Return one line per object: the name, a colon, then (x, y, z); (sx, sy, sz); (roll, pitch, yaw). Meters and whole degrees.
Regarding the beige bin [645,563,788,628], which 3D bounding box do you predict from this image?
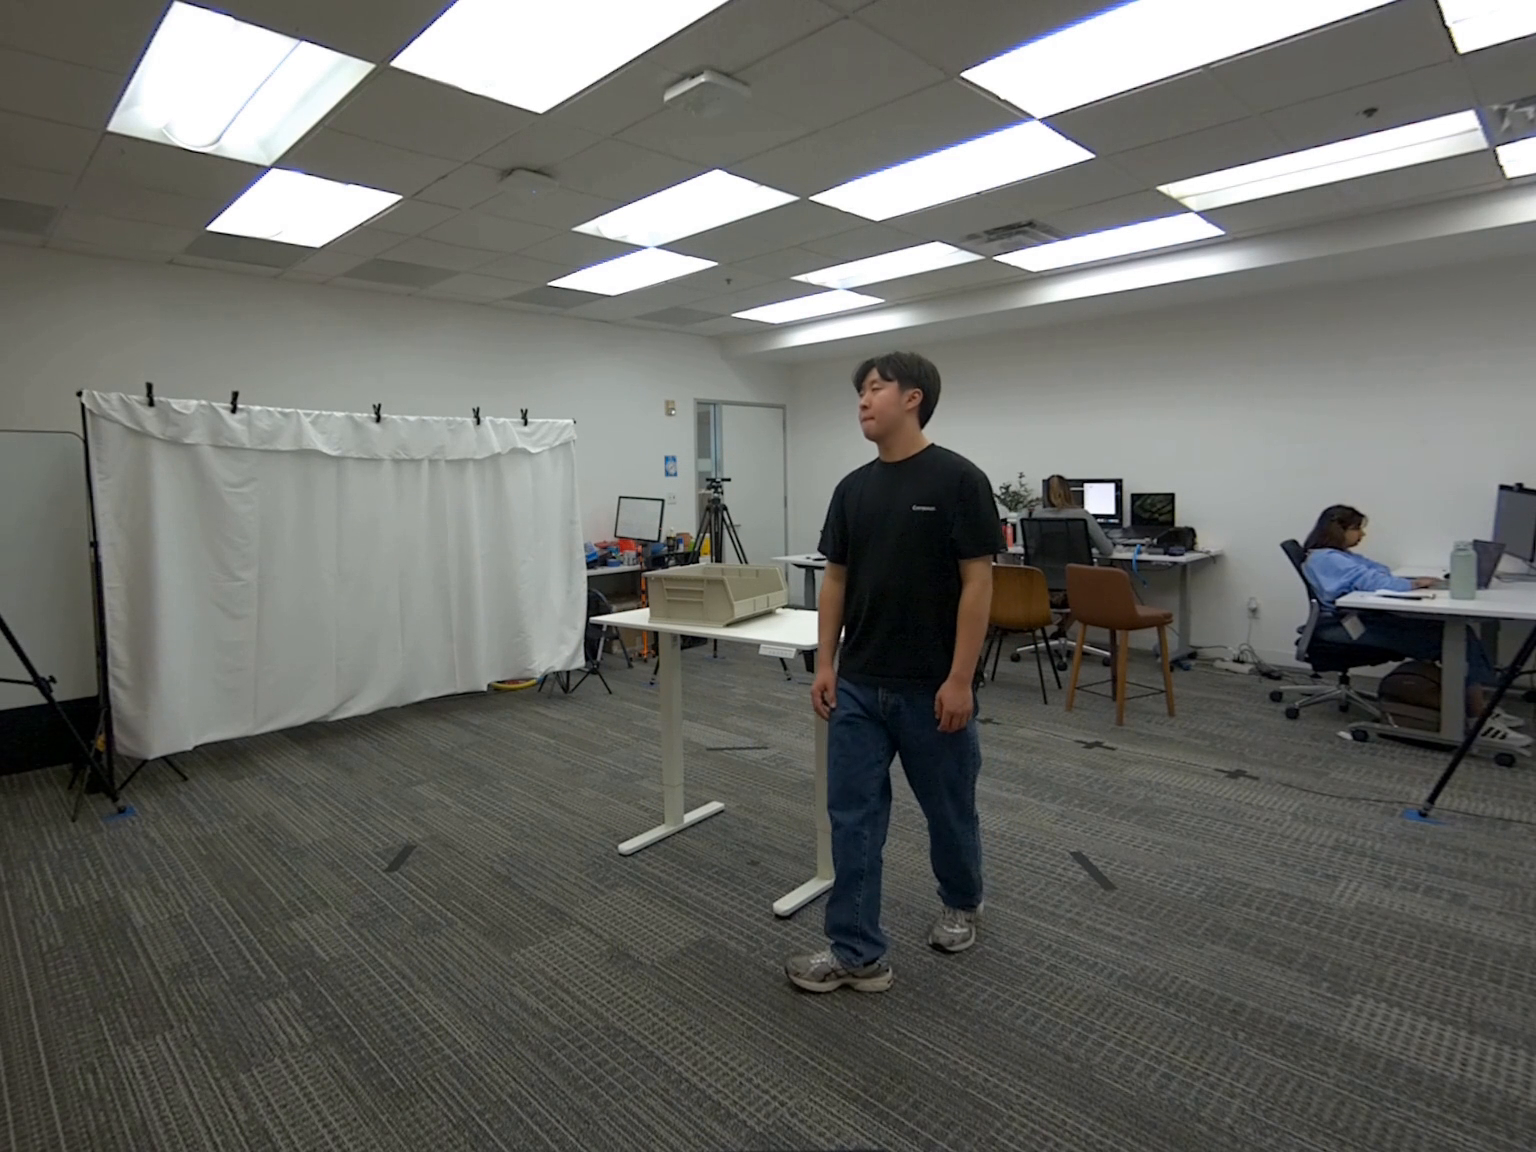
beige bin: (-0.184, 0.069, 3.165); (0.387, 0.188, 0.413); (1, 6, 29)
